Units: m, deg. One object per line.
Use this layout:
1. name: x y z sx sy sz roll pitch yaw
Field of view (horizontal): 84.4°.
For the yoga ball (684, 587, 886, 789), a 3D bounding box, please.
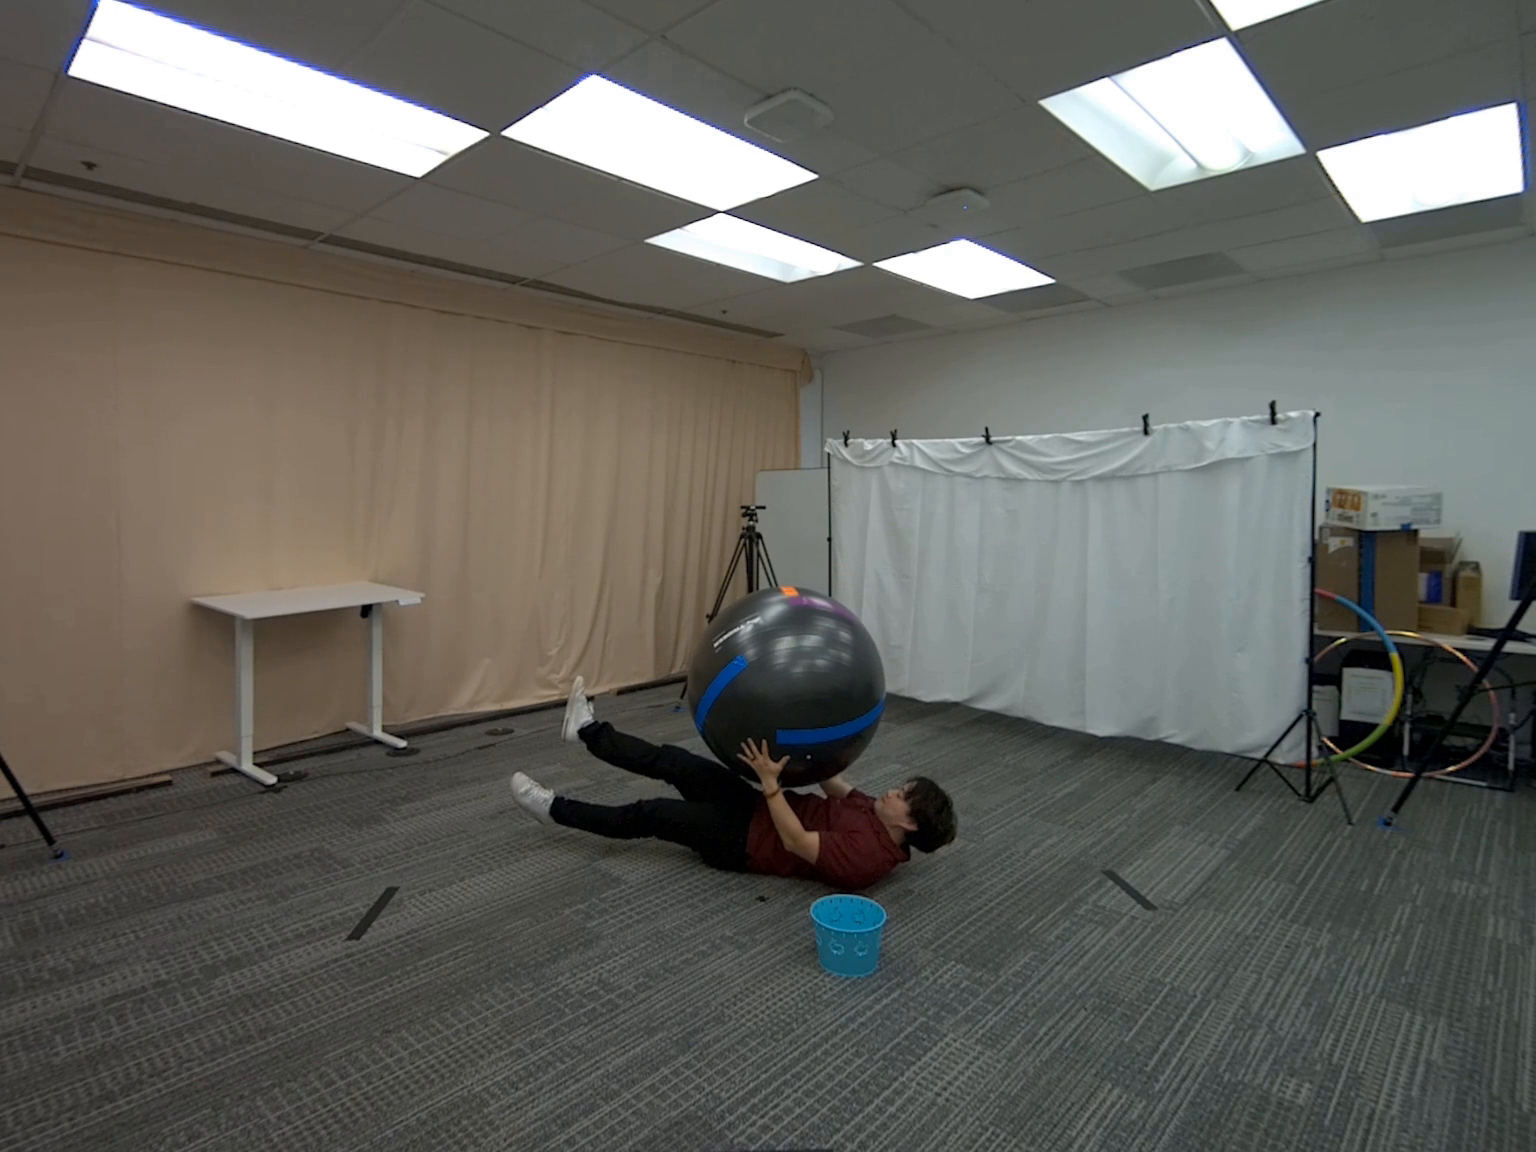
1. yoga ball: 0.066 0.420 3.248 0.757 0.756 0.760 0 4 -2
